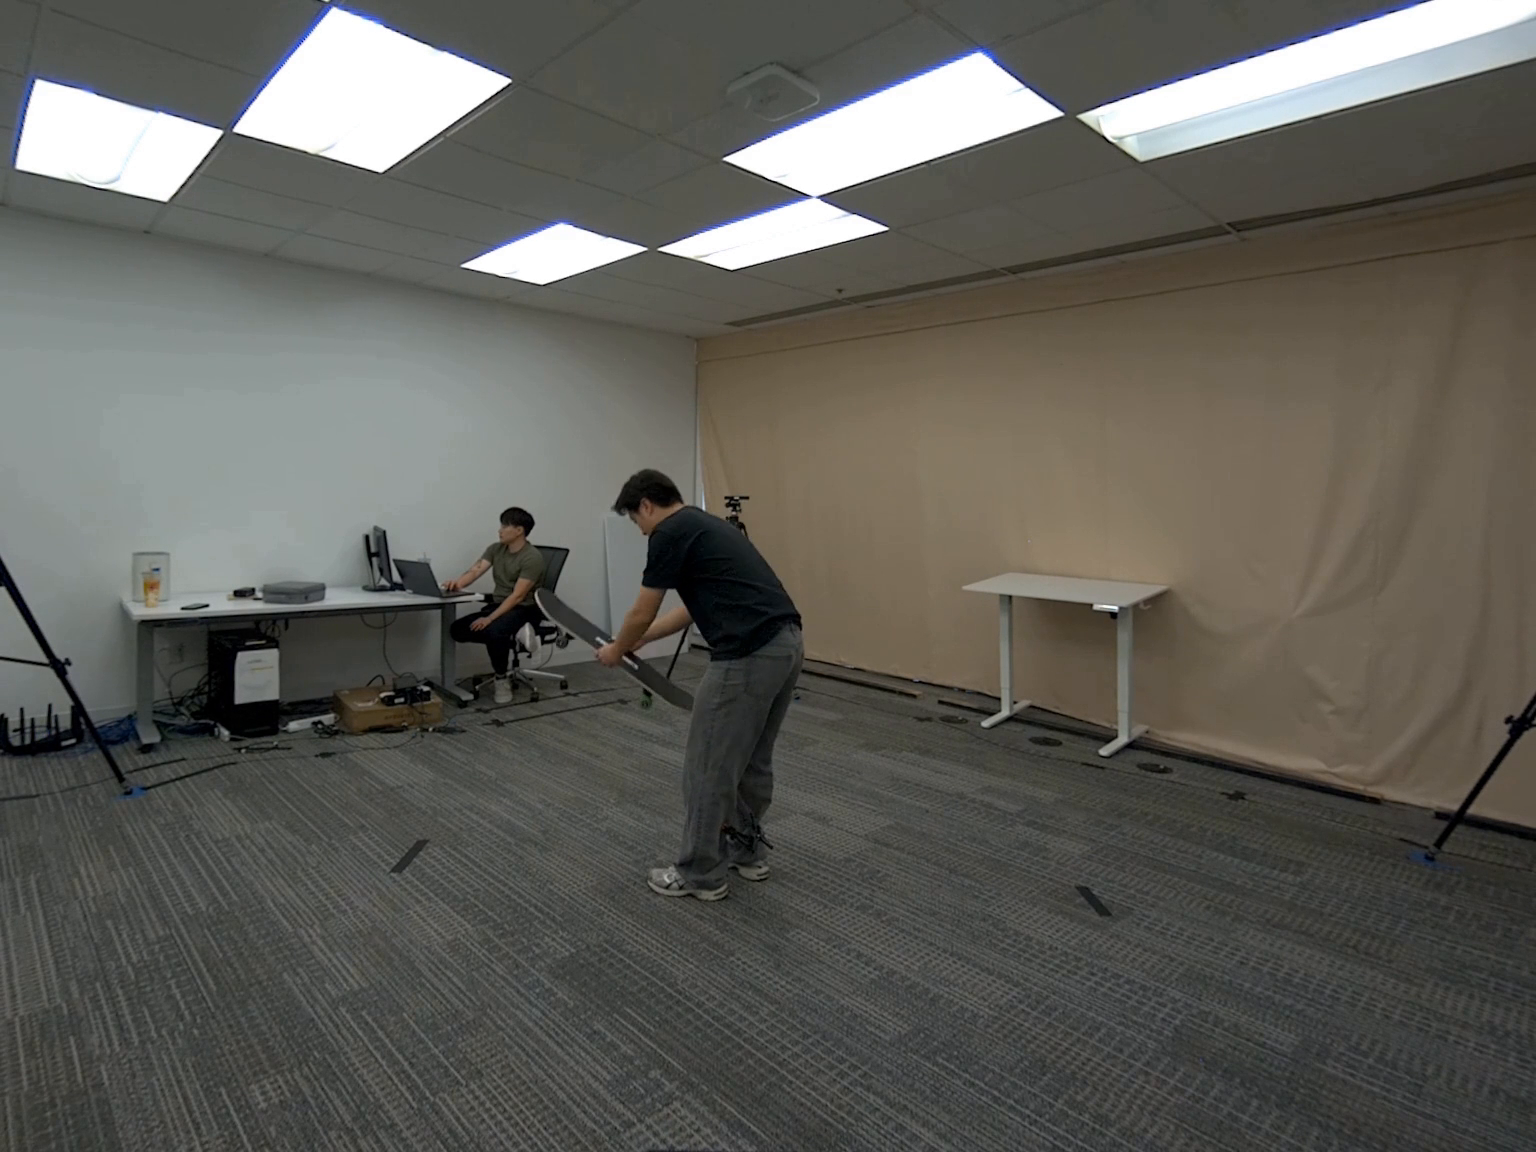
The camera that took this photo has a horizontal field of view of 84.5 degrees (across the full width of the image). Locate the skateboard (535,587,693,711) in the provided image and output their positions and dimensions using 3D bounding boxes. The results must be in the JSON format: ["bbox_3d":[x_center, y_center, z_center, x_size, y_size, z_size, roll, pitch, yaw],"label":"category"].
[{"bbox_3d":[-0.611,0.333,3.298,0.782,0.110,0.194,37,11,-3],"label":"skateboard"}]
